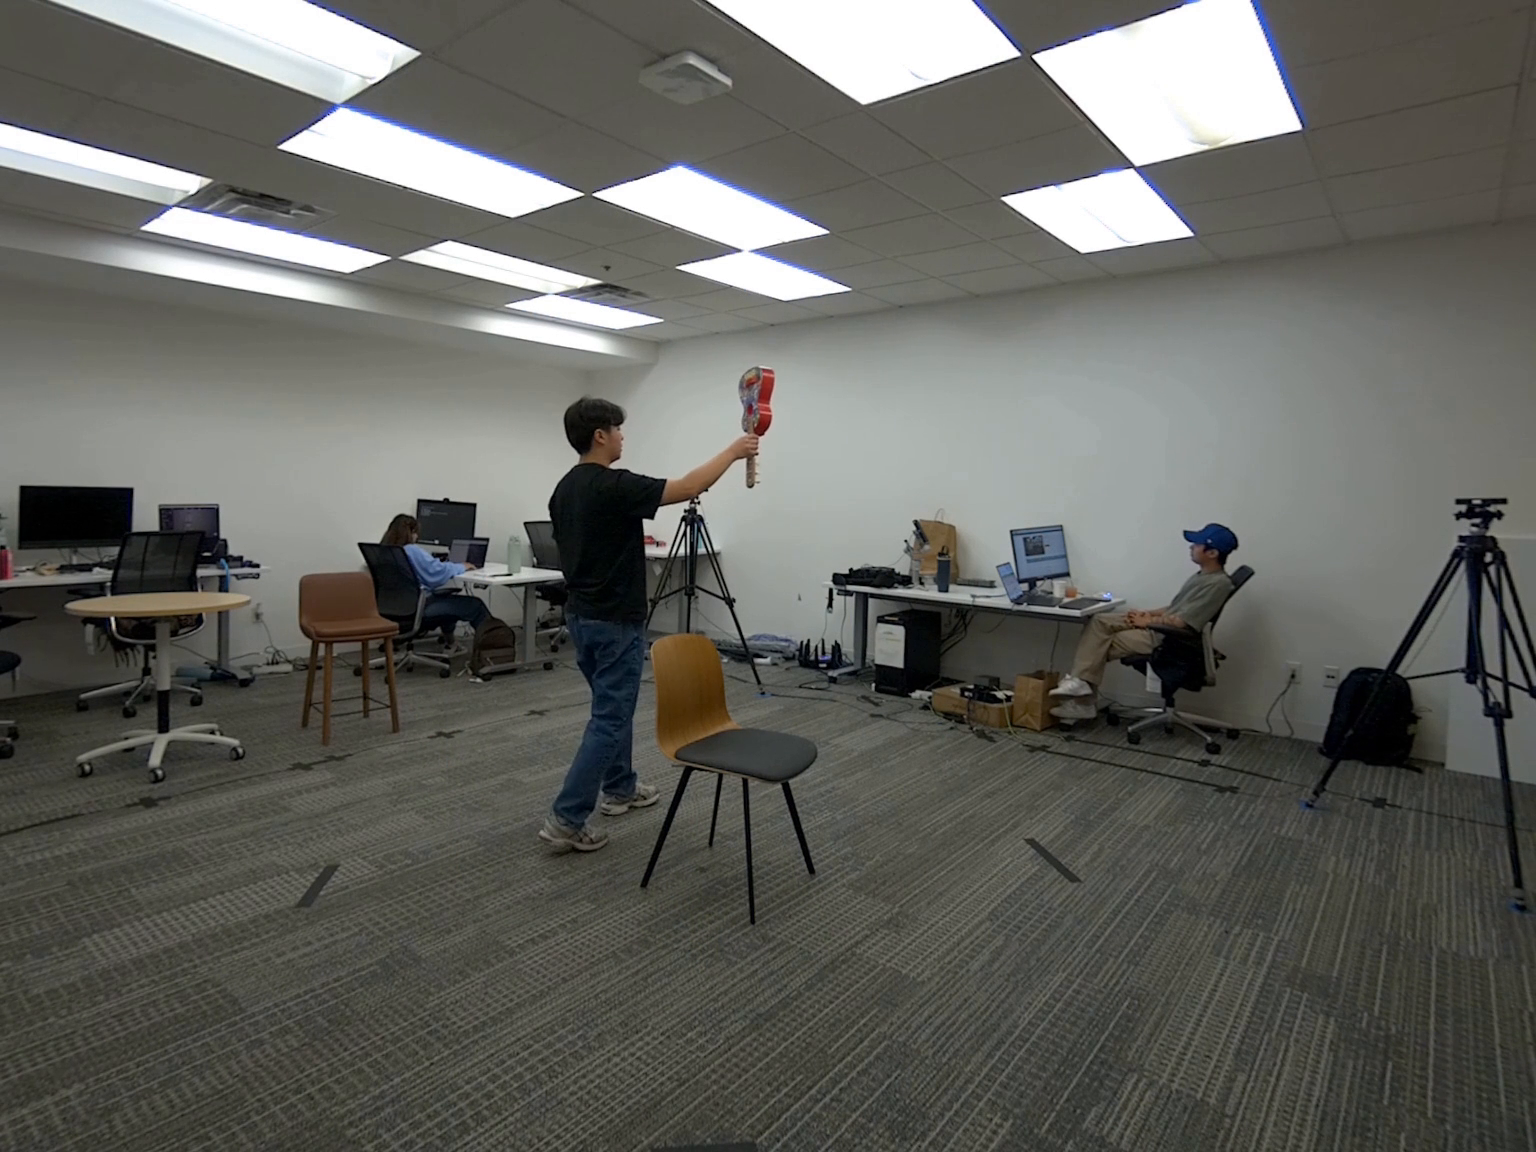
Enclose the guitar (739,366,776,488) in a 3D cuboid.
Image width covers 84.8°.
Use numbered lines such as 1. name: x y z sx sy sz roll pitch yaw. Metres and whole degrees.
1. guitar: -0.079 -0.606 3.475 0.069 0.499 0.198 5 -3 -30
